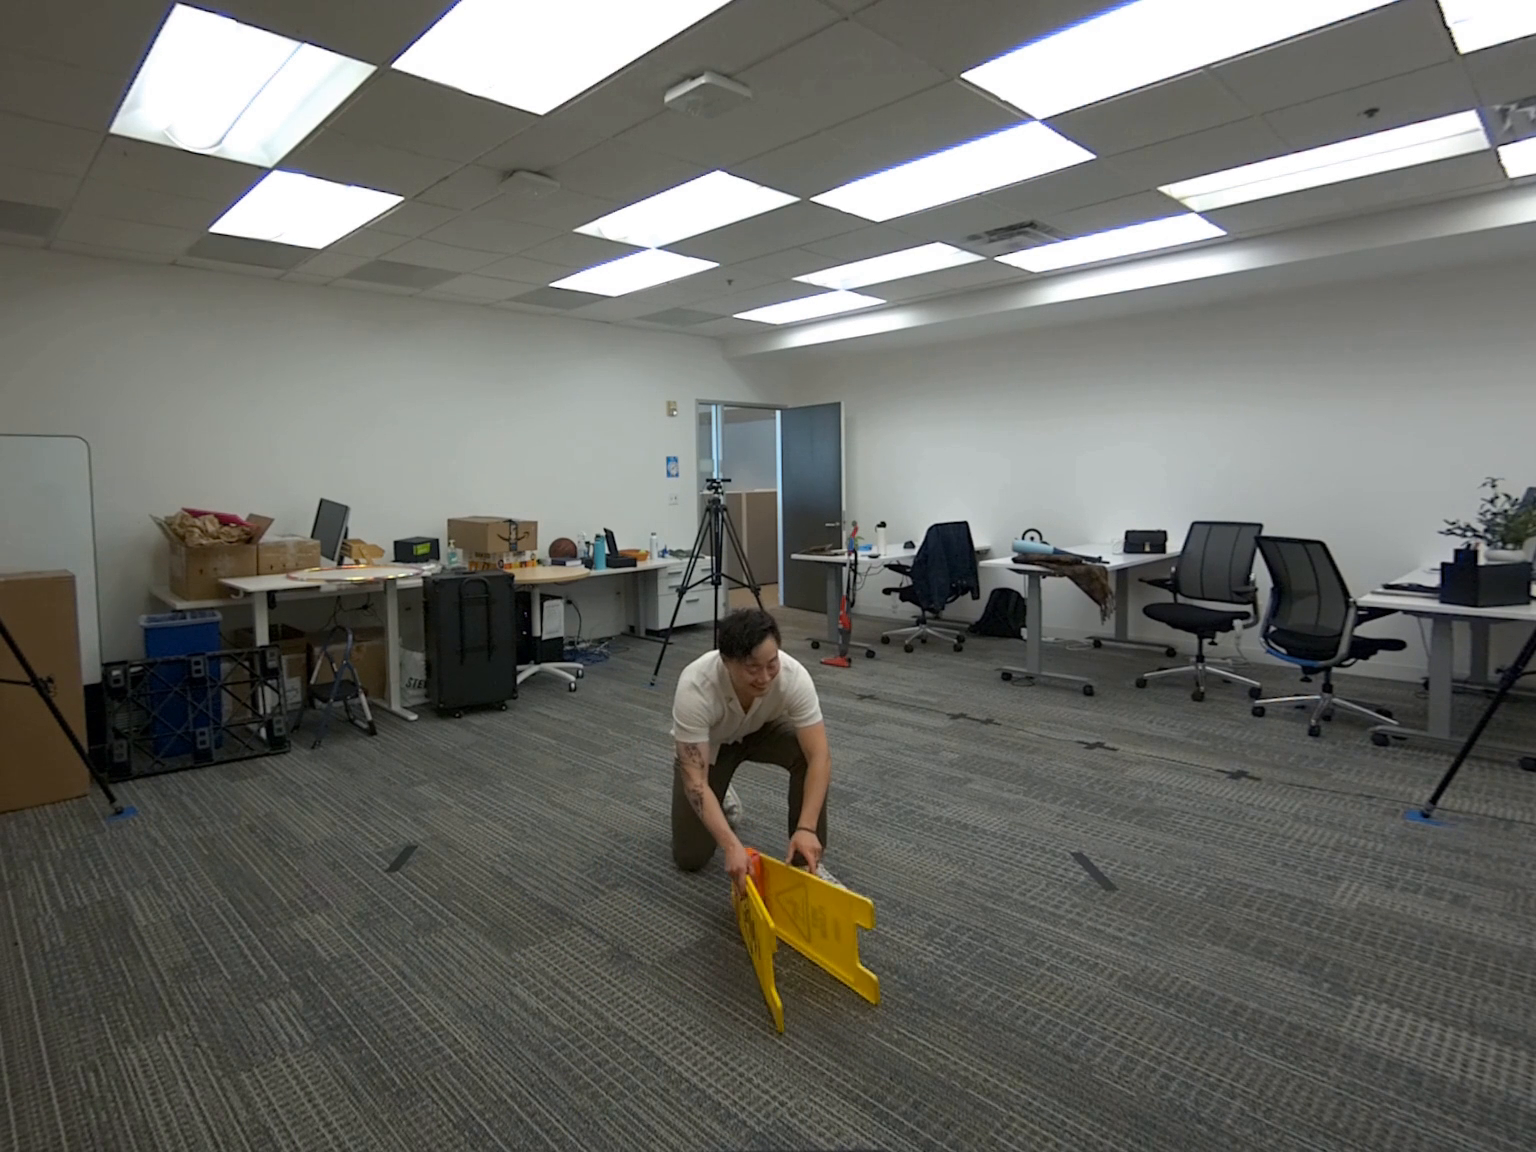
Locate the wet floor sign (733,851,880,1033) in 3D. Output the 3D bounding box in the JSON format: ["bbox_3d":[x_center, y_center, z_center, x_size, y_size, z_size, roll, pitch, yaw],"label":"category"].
[{"bbox_3d":[0.013,0.991,2.492,0.284,0.282,0.660,-3,3,-24],"label":"wet floor sign"}]
